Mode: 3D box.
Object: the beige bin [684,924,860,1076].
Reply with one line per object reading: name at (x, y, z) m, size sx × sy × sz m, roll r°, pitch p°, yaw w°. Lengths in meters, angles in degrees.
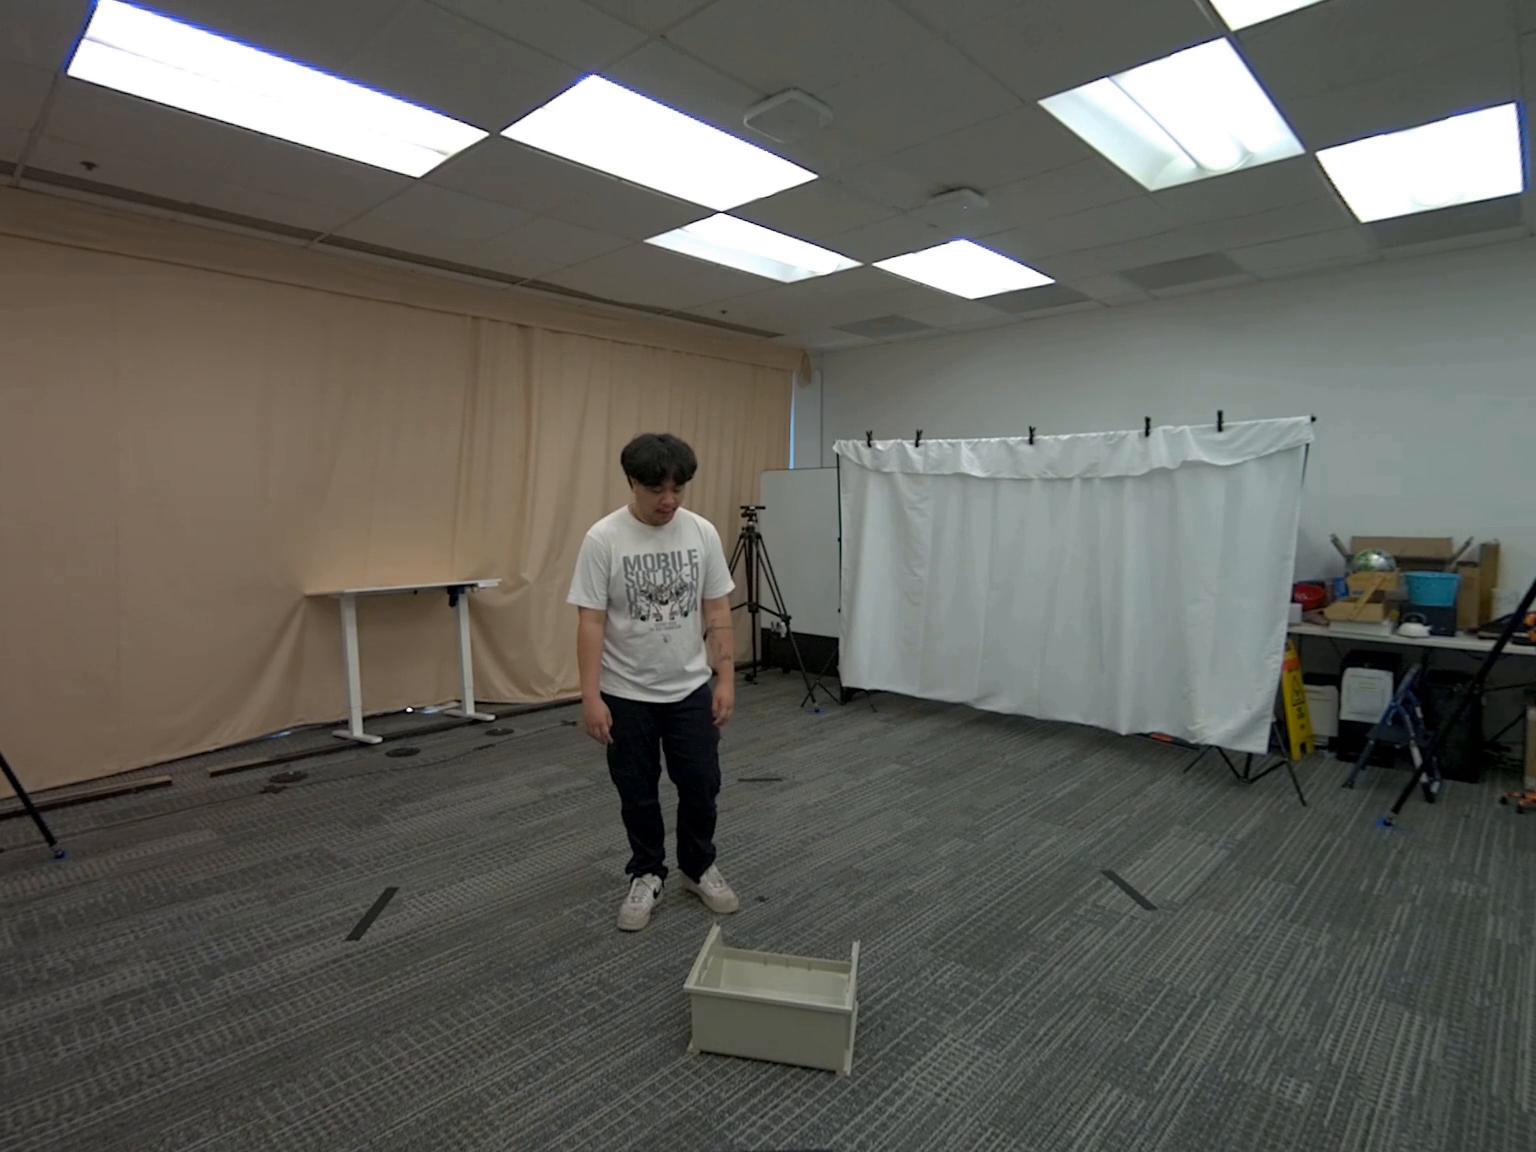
beige bin at (0.029, 1.117, 2.261) m, size 0.428 × 0.188 × 0.373 m, roll 1°, pitch 5°, yaw 11°
